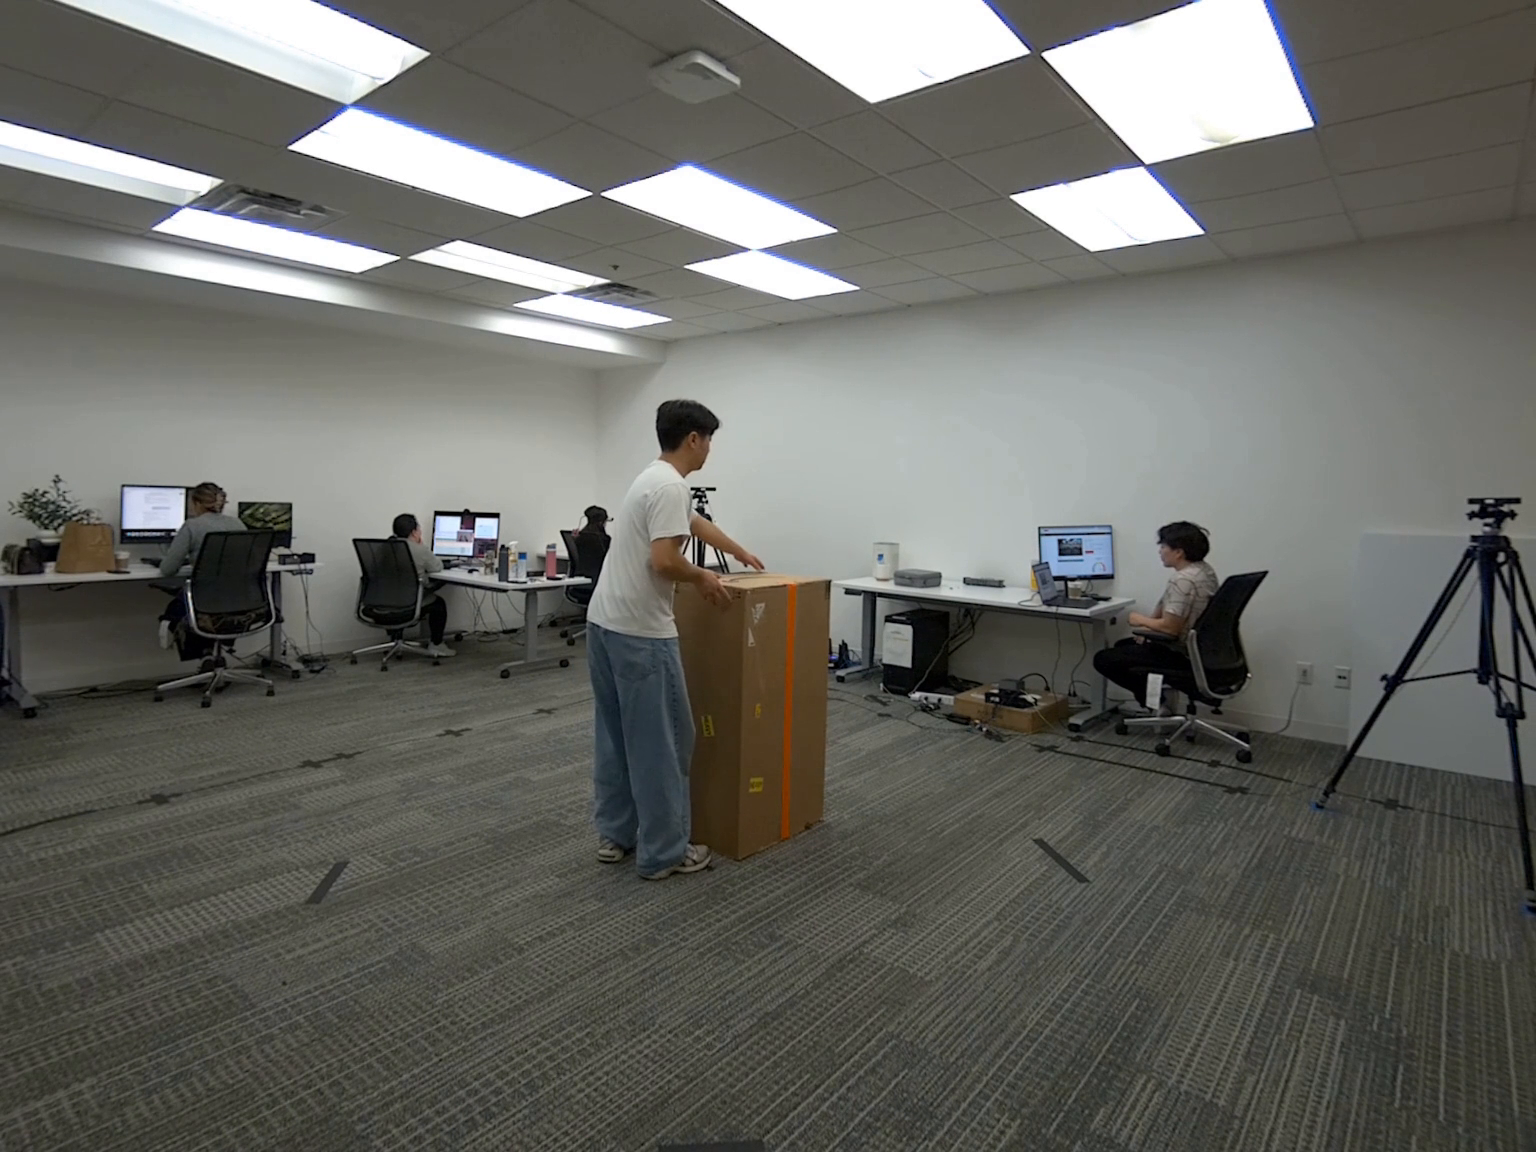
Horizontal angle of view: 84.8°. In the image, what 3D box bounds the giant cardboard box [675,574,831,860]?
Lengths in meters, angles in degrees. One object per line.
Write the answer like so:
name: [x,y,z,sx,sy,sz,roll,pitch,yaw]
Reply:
giant cardboard box: [-0.091,0.518,3.504,0.440,1.023,0.560,4,4,40]
